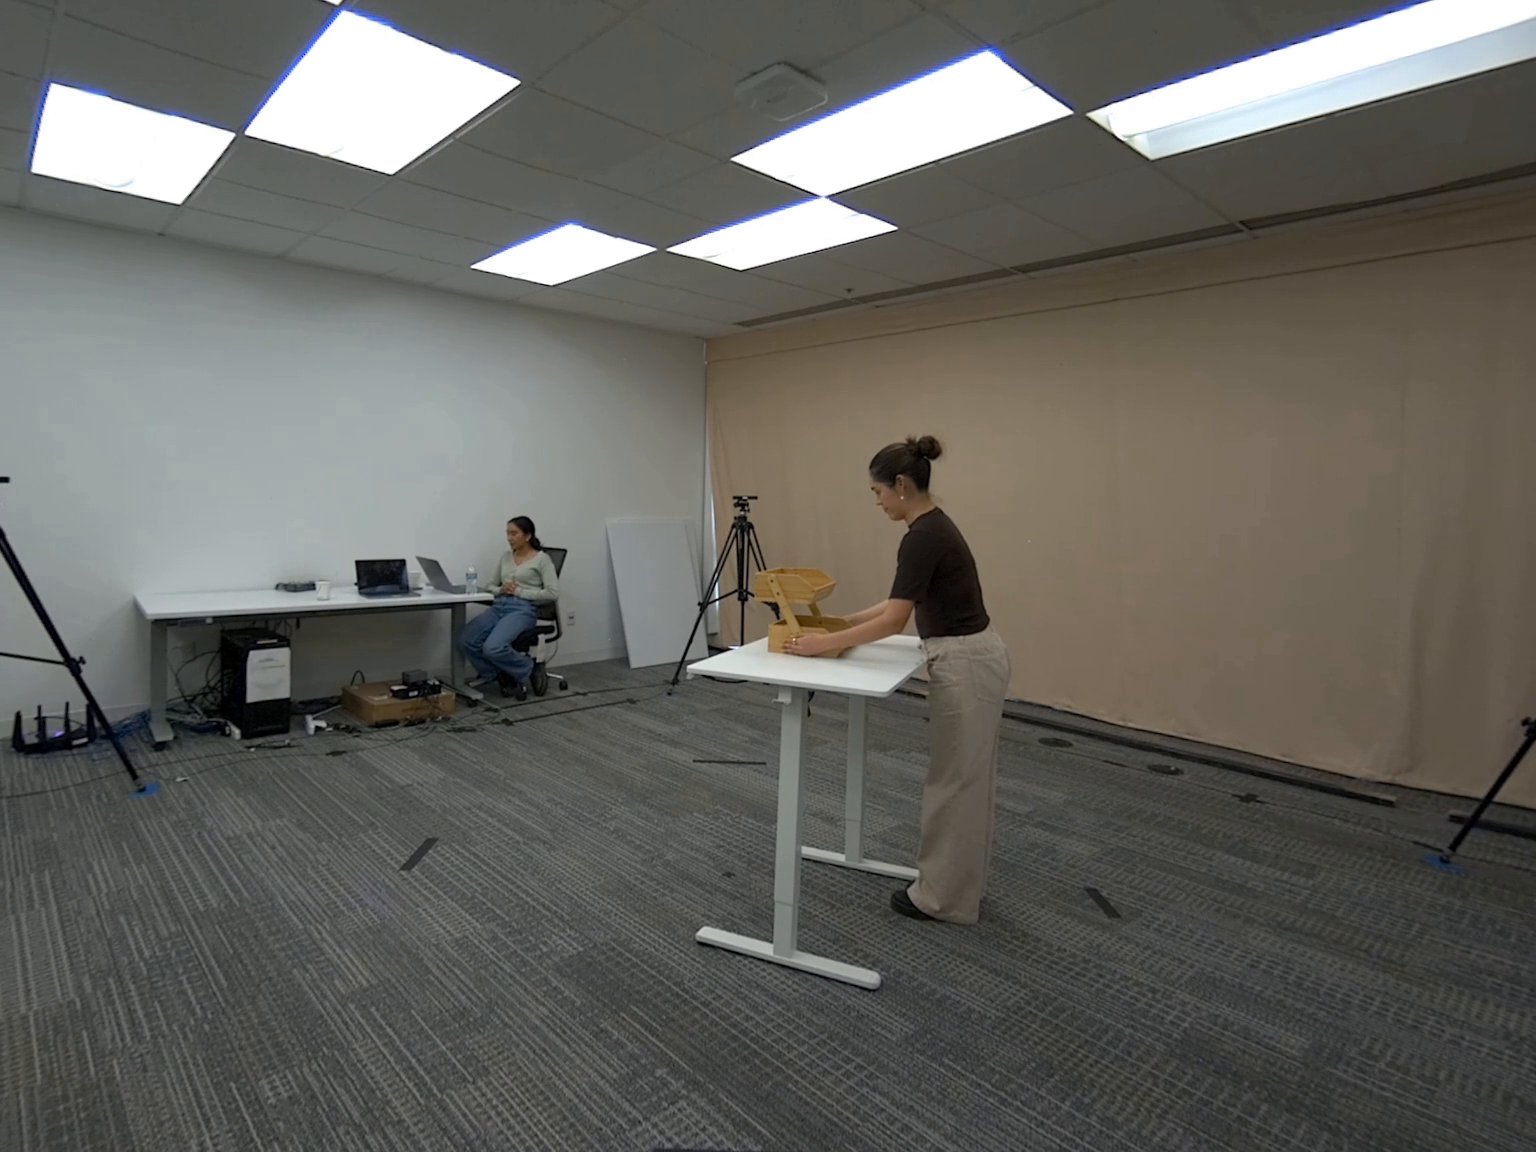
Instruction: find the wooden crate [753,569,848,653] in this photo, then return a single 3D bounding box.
[{"bbox_3d":[0.144,0.121,2.880,0.307,0.272,0.320,6,5,19],"label":"wooden crate"}]
